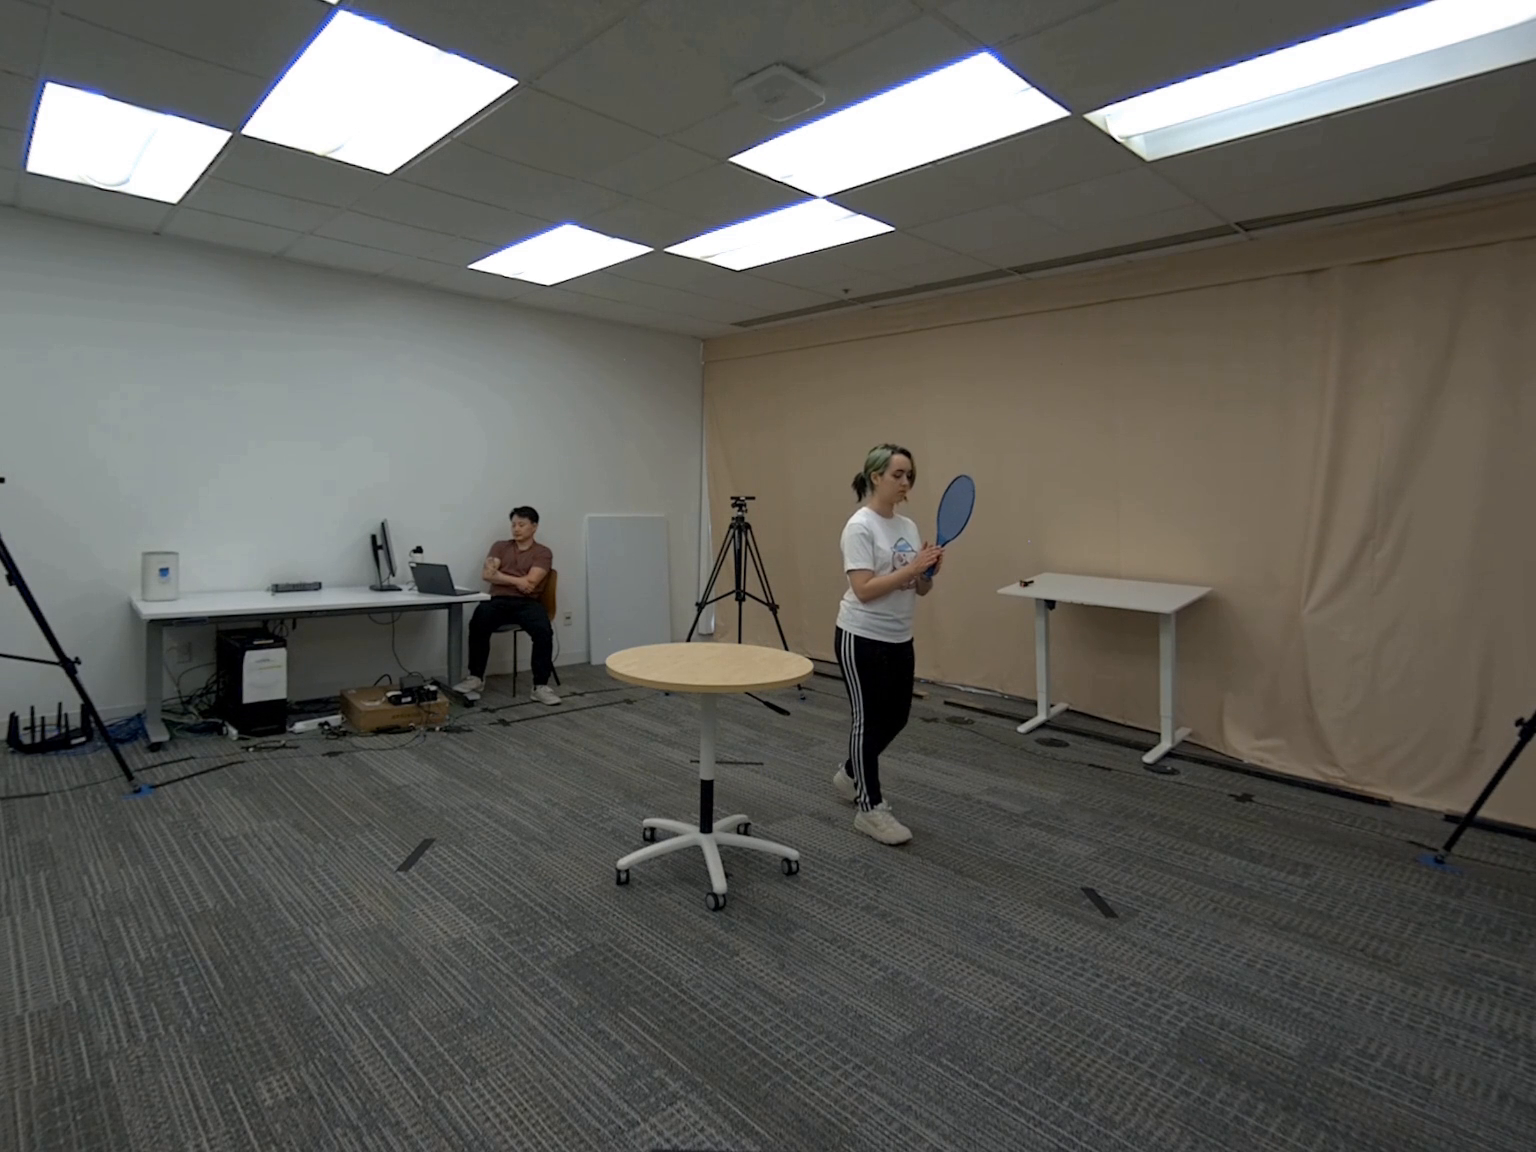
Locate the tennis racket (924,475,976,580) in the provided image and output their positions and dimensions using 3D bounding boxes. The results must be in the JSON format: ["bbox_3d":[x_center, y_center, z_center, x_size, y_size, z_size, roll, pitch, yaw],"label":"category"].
[{"bbox_3d":[0.695,-0.192,3.268,0.031,0.428,0.219,9,28,-19],"label":"tennis racket"}]
